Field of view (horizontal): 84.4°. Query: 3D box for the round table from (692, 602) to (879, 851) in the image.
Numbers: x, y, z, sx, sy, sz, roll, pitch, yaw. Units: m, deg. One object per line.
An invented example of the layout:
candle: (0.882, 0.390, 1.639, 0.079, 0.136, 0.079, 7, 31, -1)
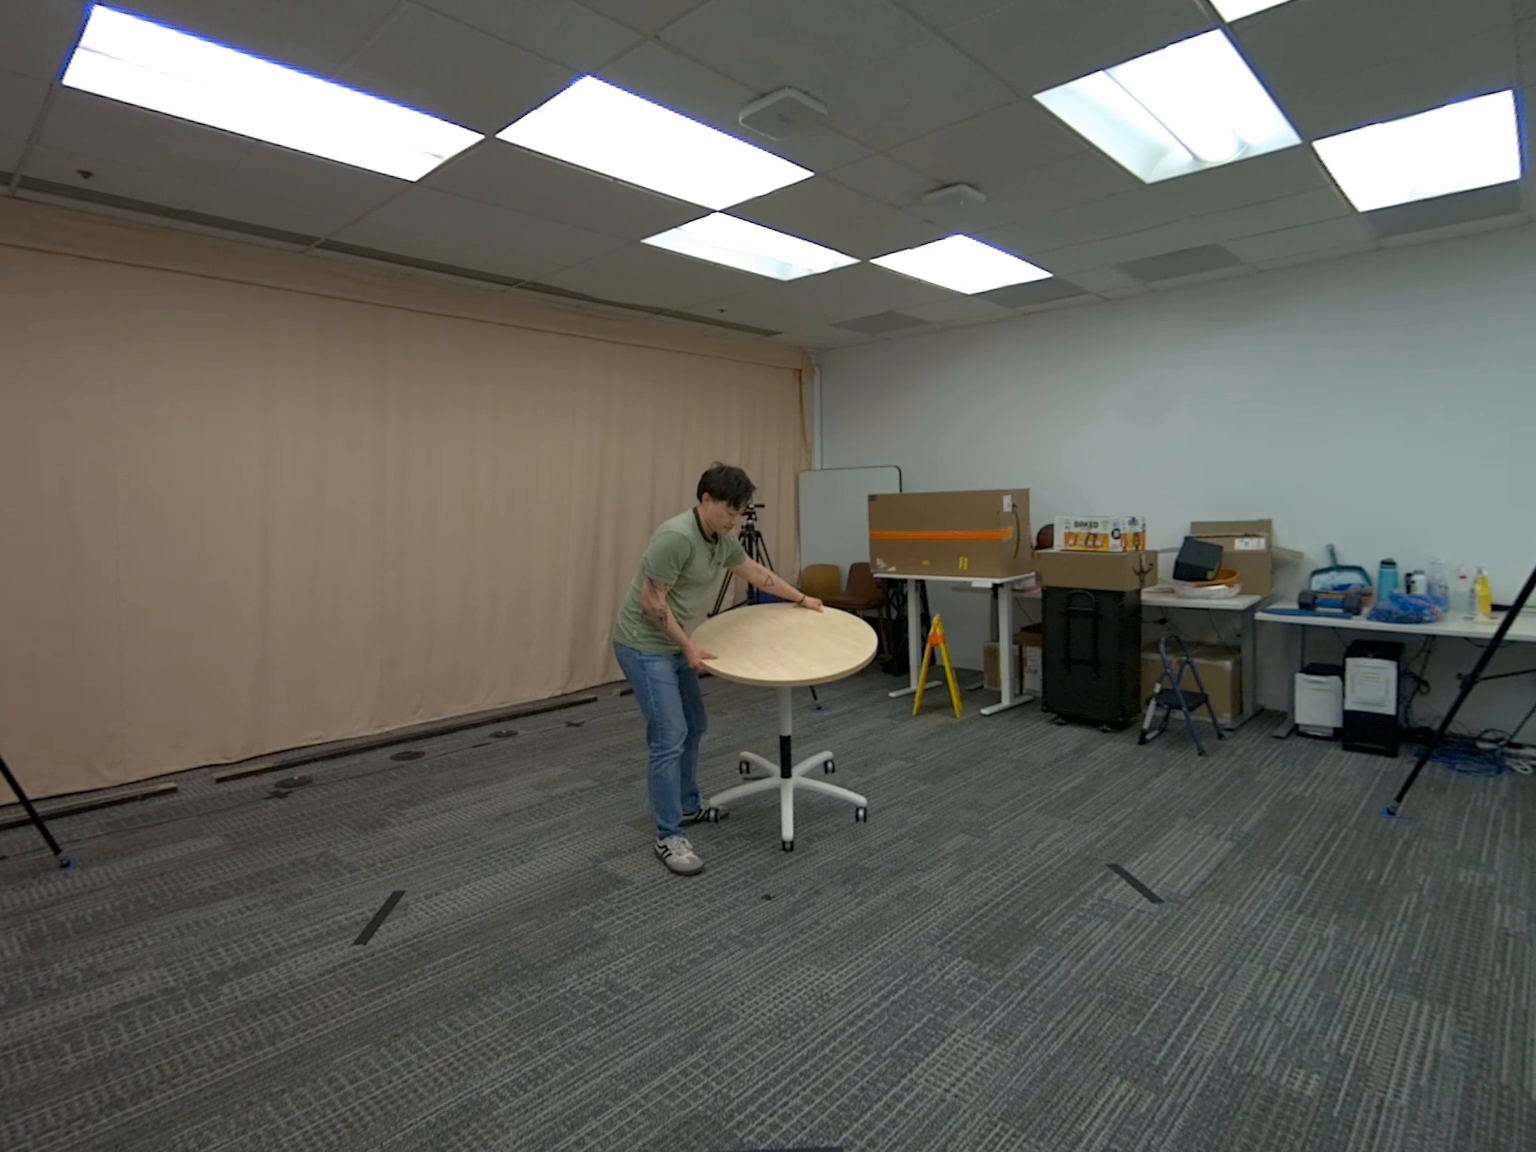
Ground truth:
round table: (0.075, 0.630, 3.573, 0.764, 0.785, 0.773, -2, 18, -1)
